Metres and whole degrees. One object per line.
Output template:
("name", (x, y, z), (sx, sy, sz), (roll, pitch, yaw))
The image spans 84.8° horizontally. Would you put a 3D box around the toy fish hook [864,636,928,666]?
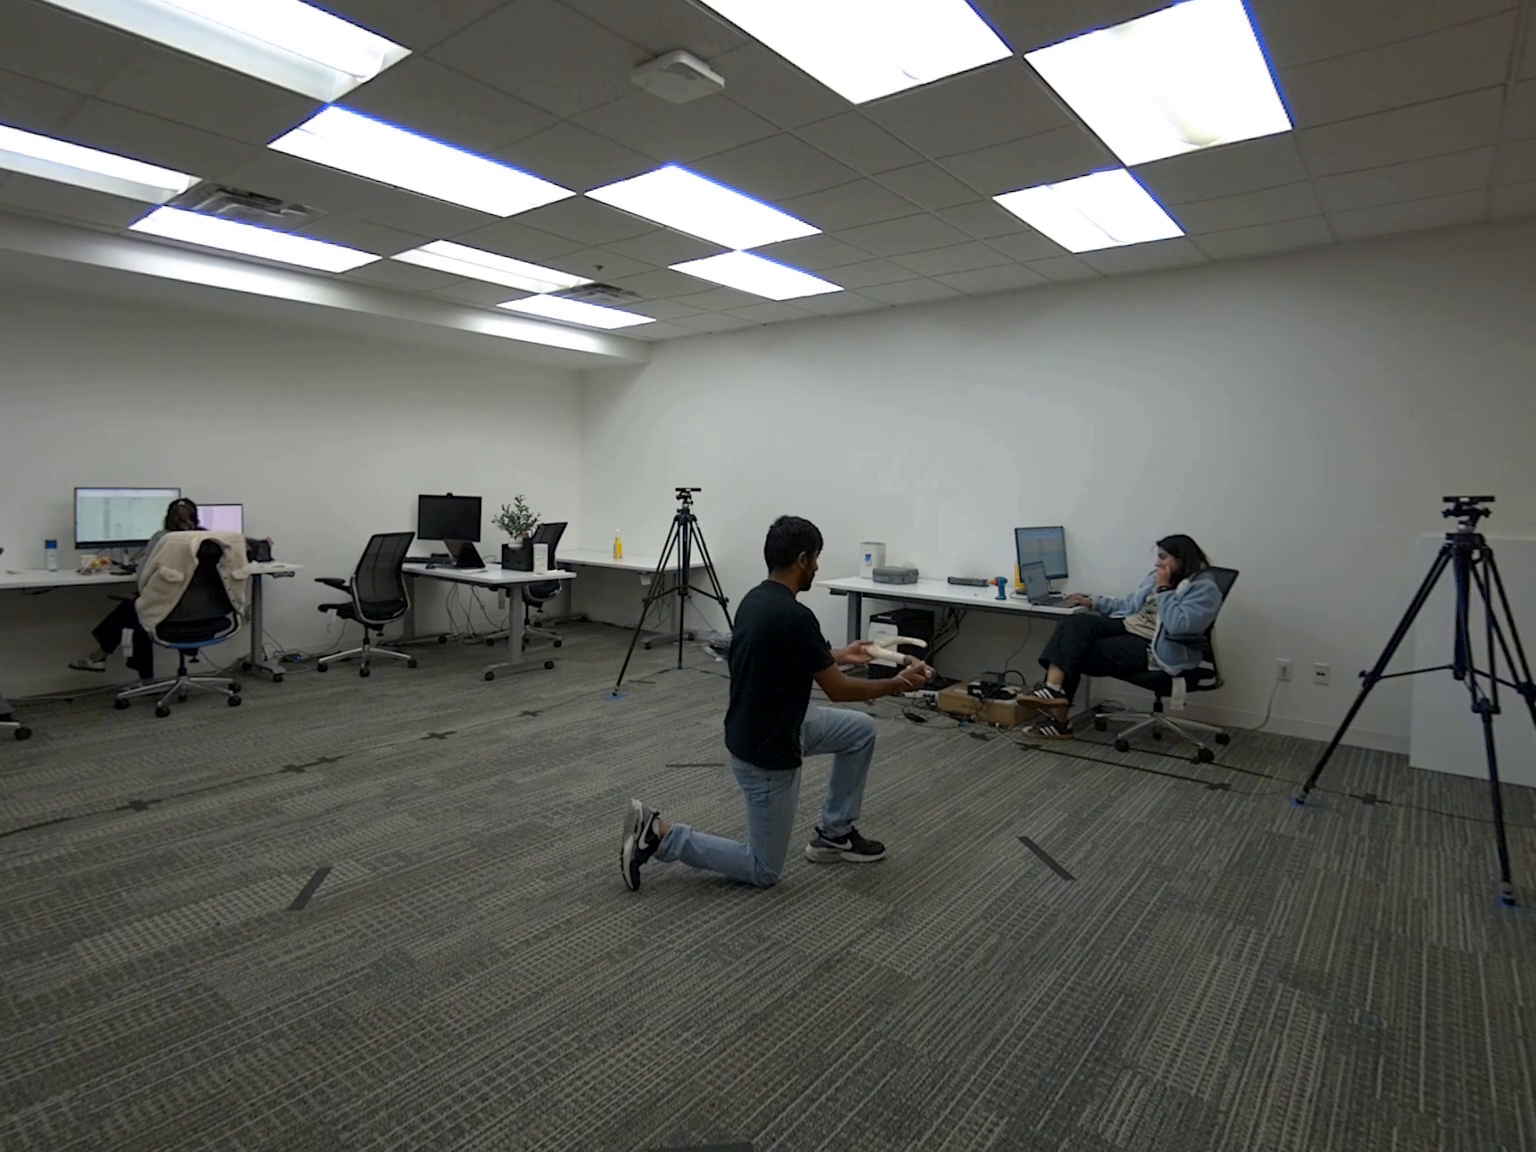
("toy fish hook", (0.527, 0.299, 3.213), (0.222, 0.047, 0.518), (-16, 13, -14))
